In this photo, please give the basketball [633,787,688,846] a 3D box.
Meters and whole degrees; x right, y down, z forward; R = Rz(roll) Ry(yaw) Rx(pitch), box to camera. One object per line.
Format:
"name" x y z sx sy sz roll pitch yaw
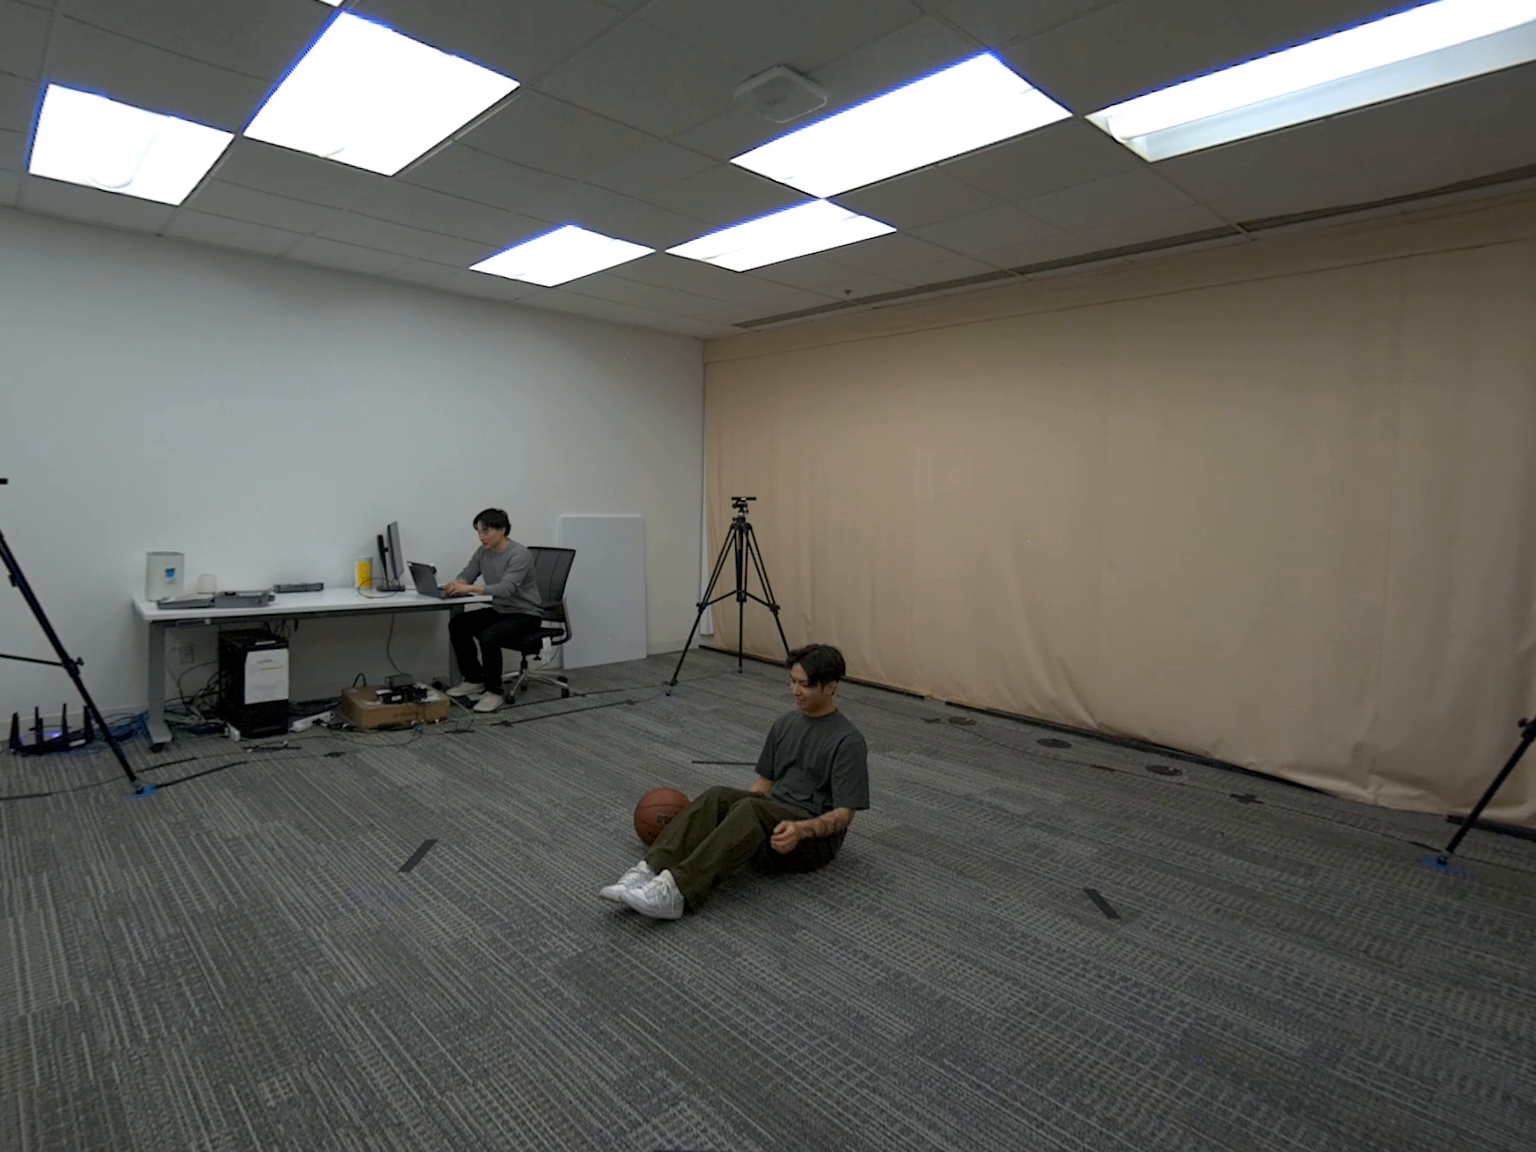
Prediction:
"basketball" -0.417 0.954 3.338 0.236 0.235 0.237 1 4 -1
